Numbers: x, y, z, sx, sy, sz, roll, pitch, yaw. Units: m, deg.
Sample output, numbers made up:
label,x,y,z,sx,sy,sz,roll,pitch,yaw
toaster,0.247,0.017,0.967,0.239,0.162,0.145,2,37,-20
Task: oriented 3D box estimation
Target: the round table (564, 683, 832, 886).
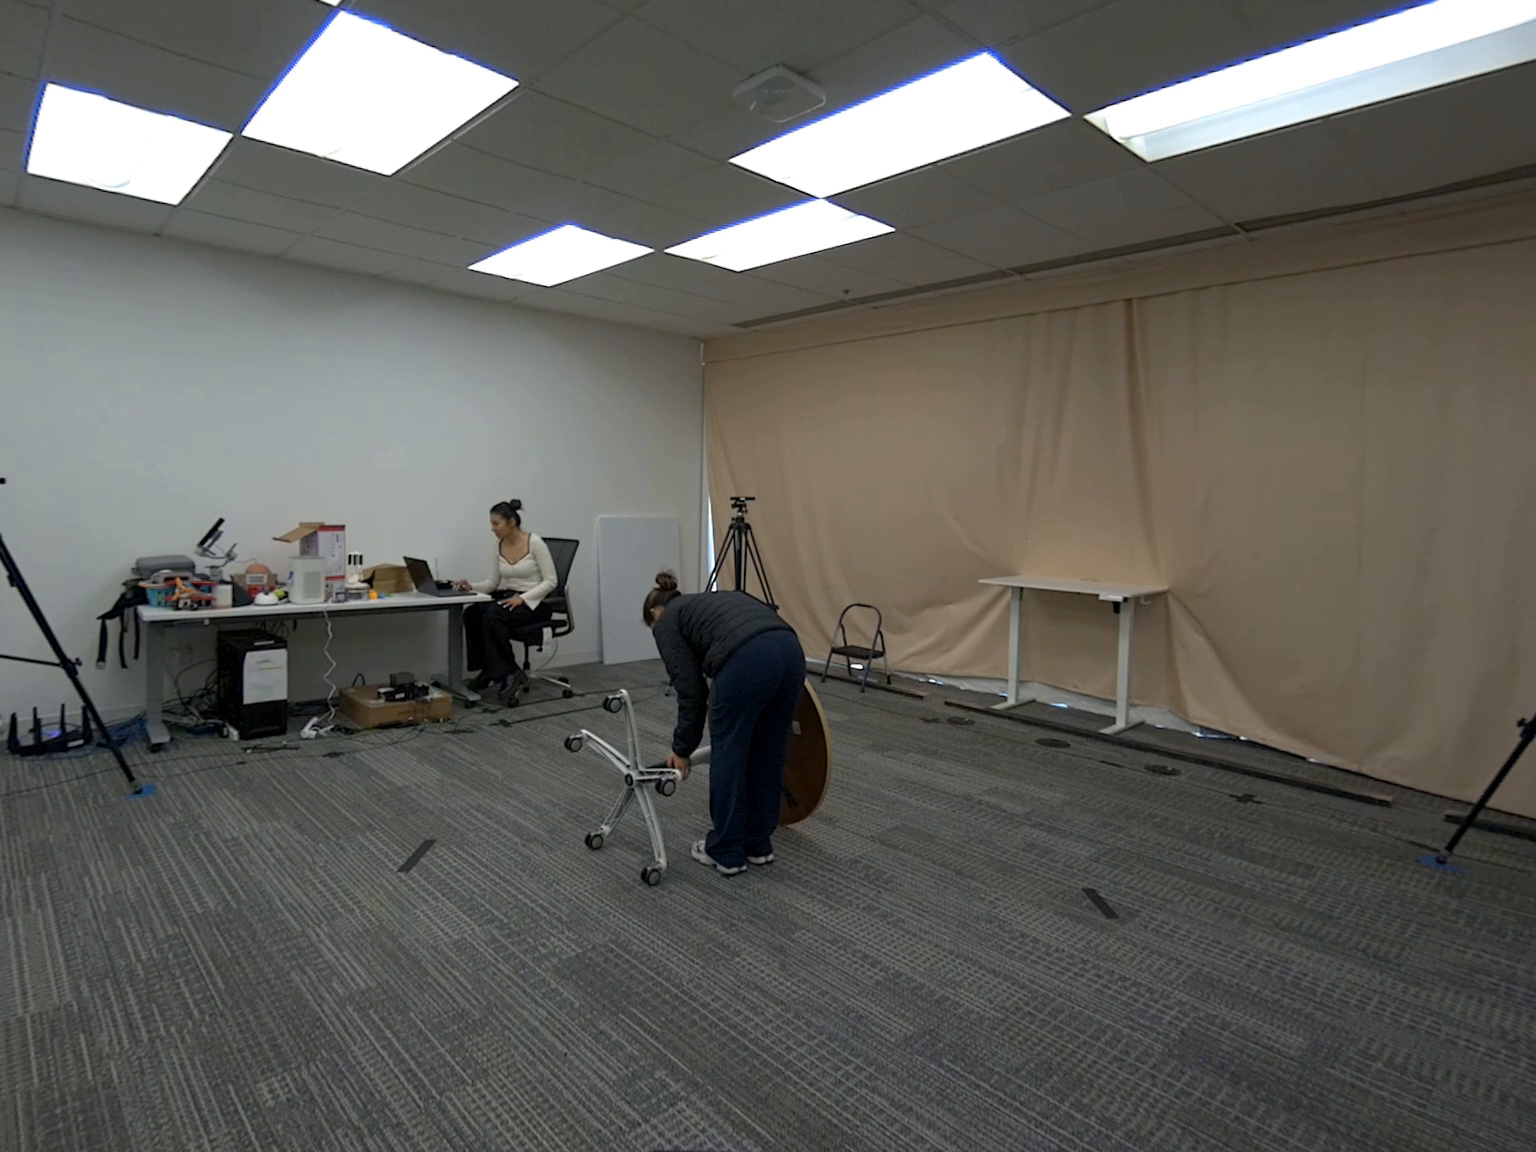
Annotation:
label,x,y,z,sx,sy,sz,roll,pitch,yaw
round table,-0.291,0.744,3.359,0.771,0.780,0.805,-10,11,-42
